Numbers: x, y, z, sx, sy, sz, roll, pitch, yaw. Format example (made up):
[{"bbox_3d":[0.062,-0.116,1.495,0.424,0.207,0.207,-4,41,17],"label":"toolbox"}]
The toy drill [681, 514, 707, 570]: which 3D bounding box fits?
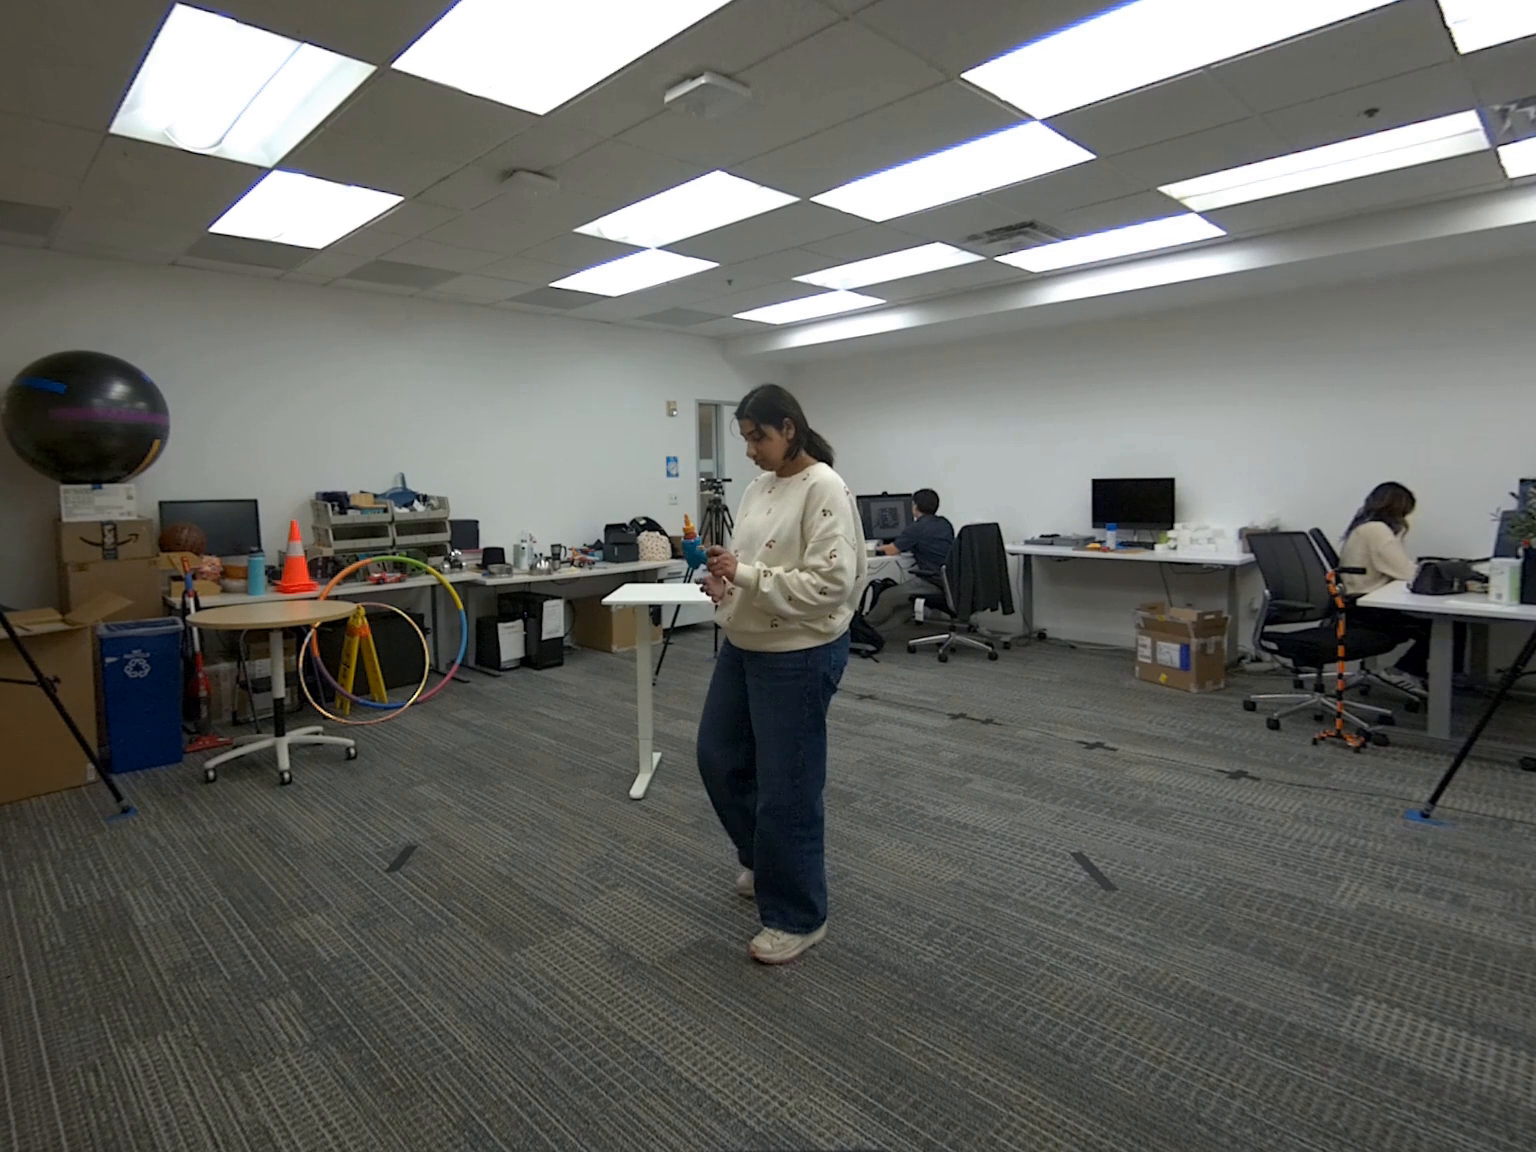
[{"bbox_3d":[-0.182,-0.092,2.417,0.151,0.167,0.060,8,23,41],"label":"toy drill"}]
